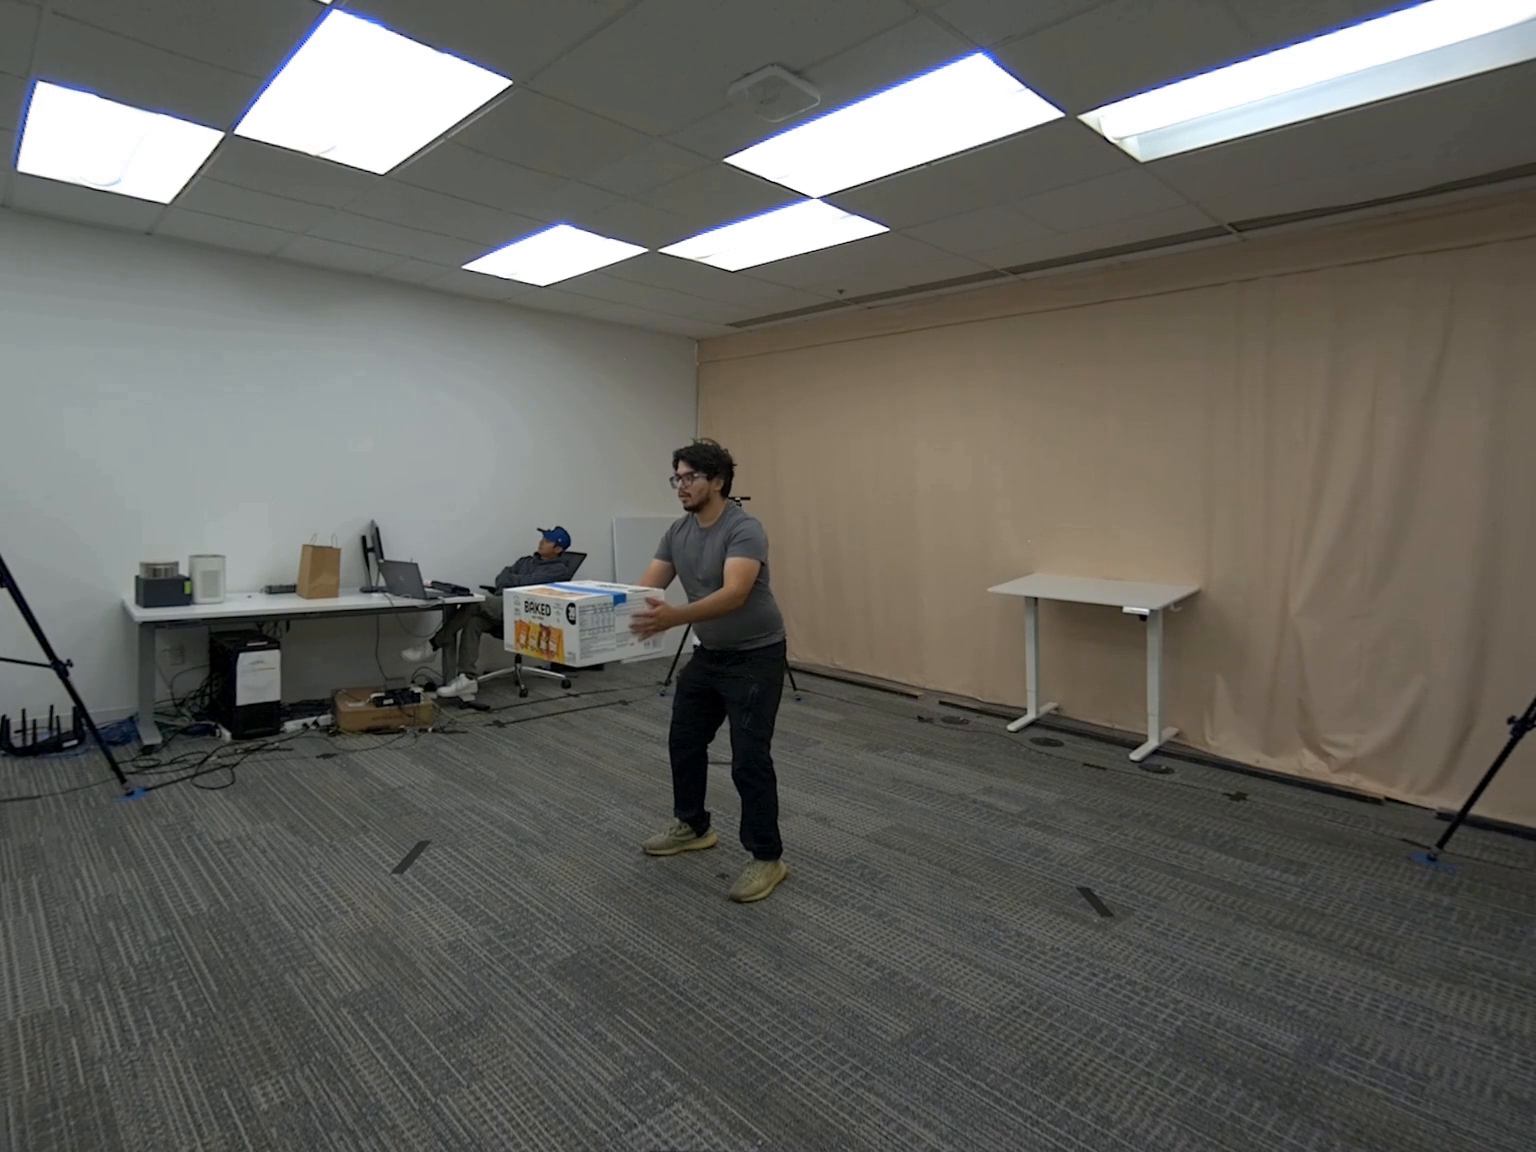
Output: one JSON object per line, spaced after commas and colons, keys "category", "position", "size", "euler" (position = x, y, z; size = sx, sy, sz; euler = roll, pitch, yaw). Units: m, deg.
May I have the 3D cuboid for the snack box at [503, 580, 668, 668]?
{"category": "snack box", "position": [-0.604, 0.149, 2.703], "size": [0.415, 0.205, 0.333], "euler": [5, 8, 41]}
